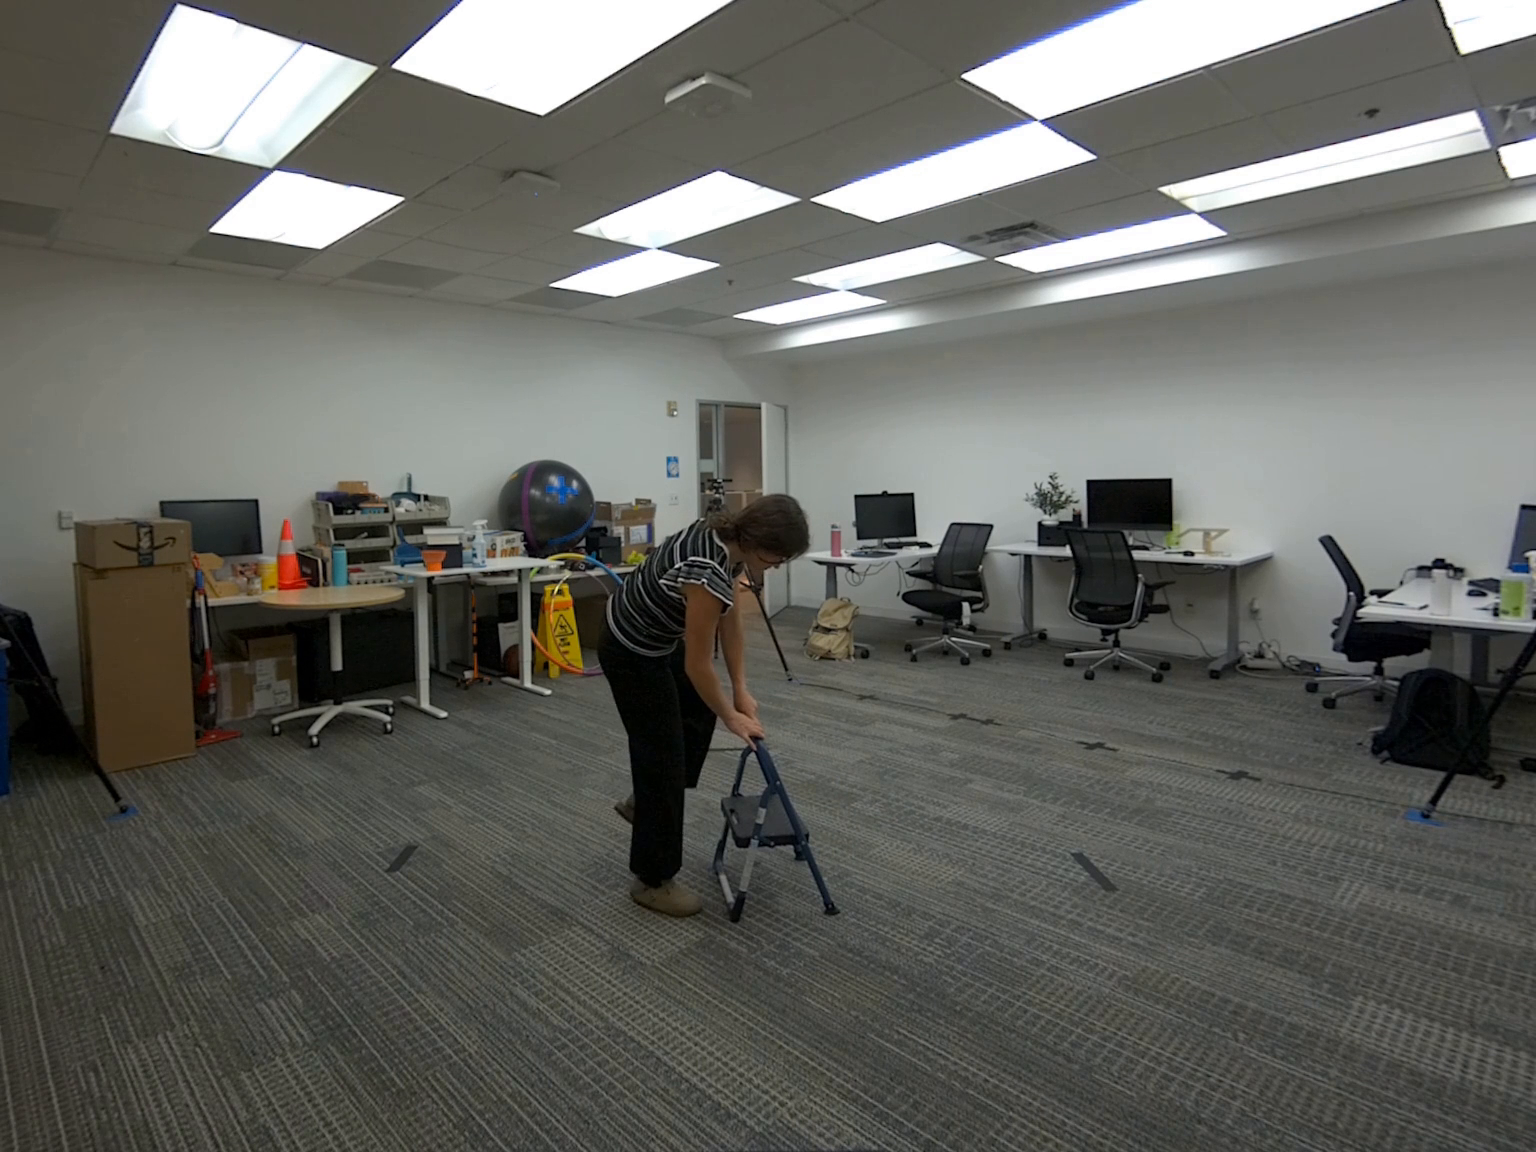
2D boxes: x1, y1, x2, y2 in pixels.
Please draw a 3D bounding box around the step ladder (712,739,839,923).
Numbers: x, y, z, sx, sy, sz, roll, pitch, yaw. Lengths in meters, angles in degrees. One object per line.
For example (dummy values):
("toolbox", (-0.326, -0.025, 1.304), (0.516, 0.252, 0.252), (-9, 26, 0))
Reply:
("step ladder", (0.004, 0.766, 2.901), (0.346, 0.604, 0.437), (-2, 4, -11))
